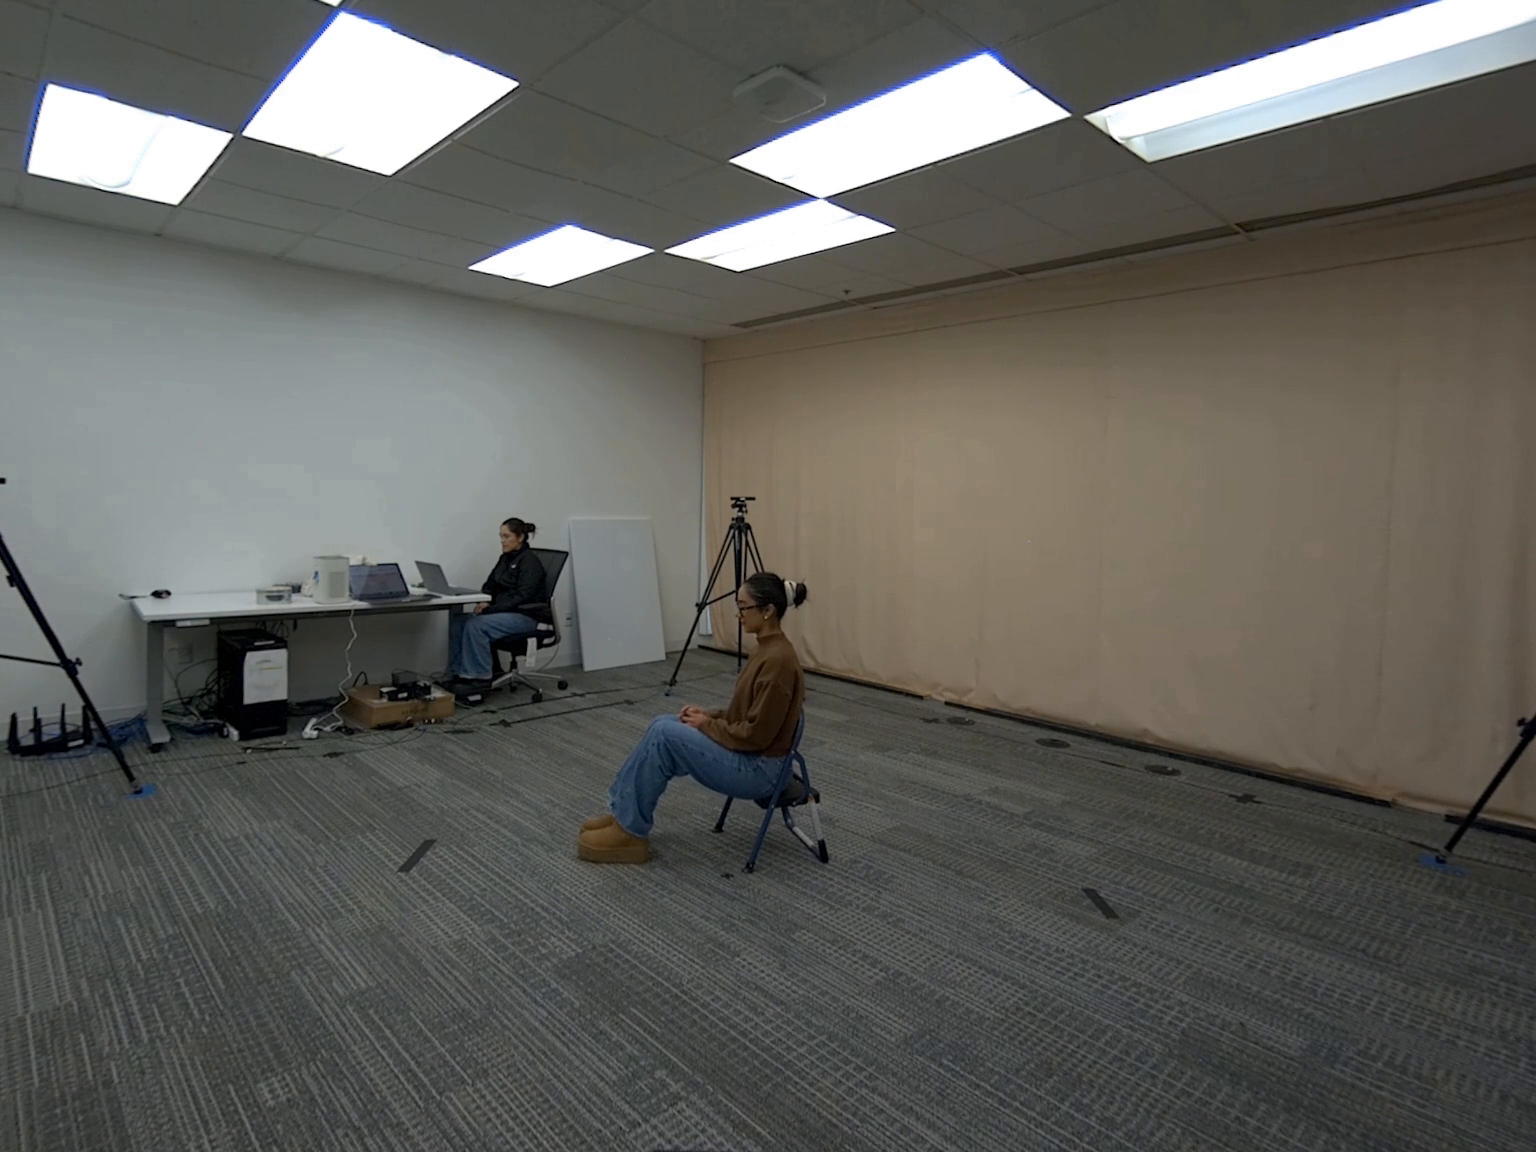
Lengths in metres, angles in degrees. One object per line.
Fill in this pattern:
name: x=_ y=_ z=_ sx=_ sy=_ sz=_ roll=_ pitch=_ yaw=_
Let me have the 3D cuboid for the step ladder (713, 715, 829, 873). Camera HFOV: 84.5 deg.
step ladder: x=0.006 y=0.791 z=3.364 sx=0.344 sy=0.604 sz=0.438 roll=0 pitch=4 yaw=-20
